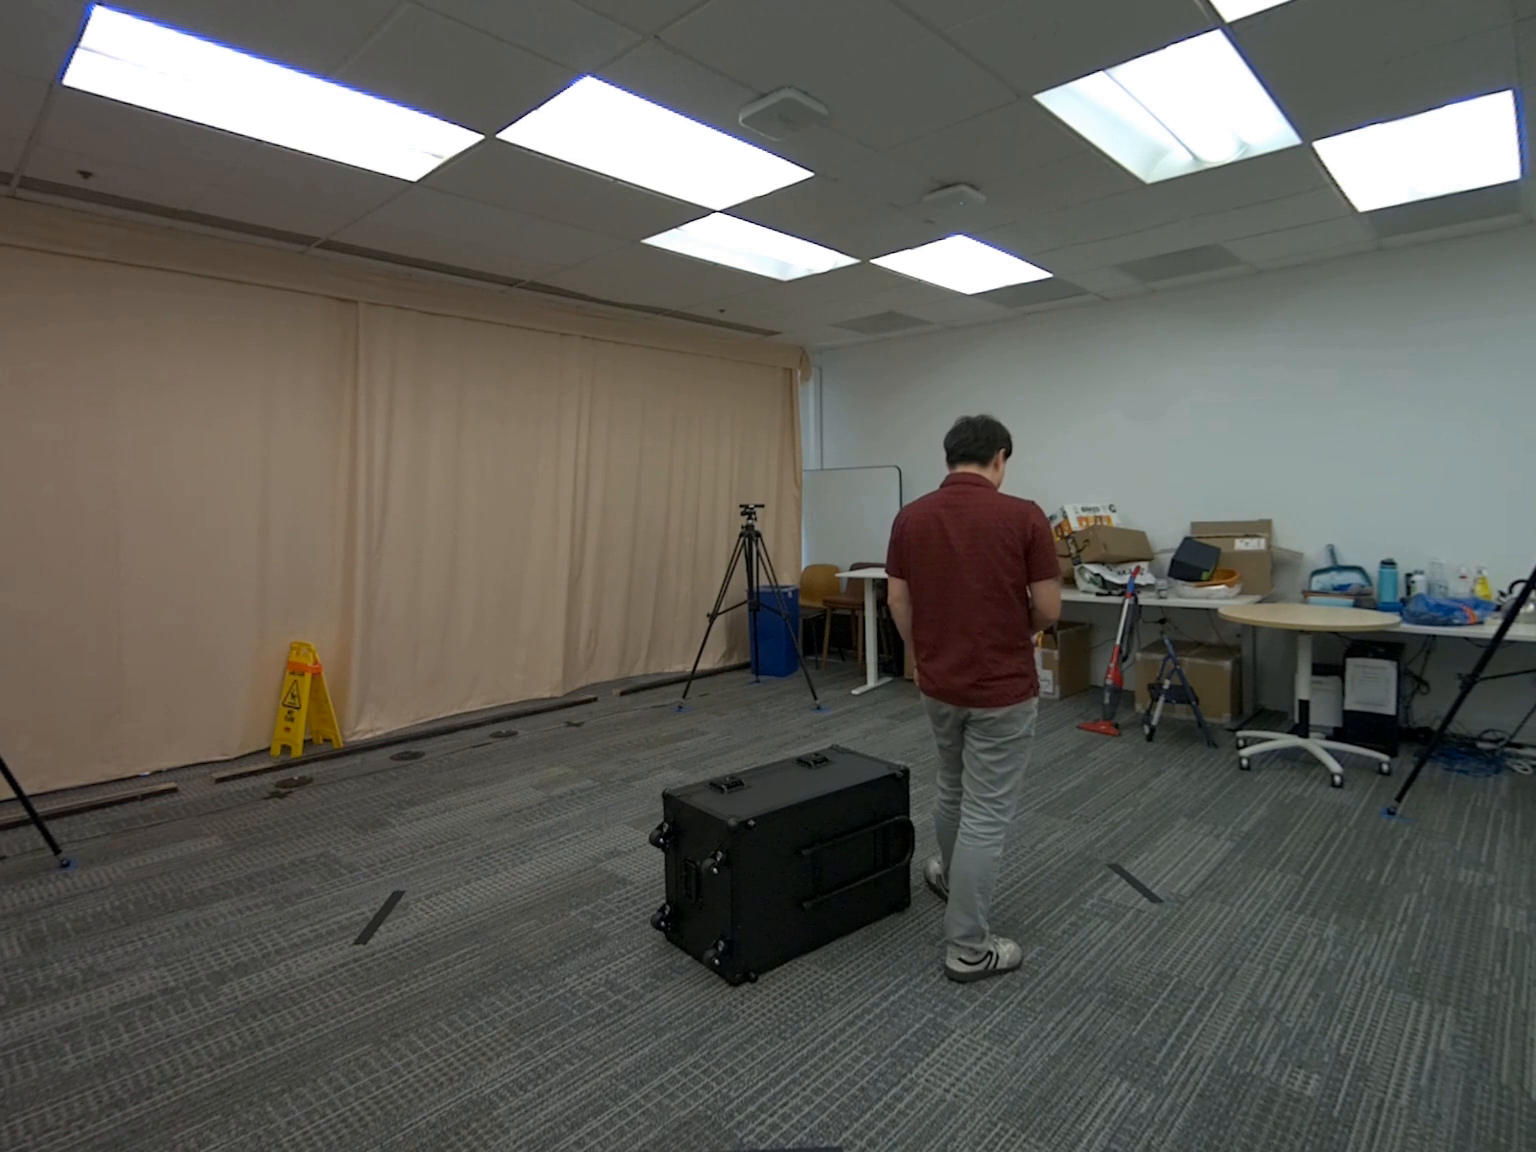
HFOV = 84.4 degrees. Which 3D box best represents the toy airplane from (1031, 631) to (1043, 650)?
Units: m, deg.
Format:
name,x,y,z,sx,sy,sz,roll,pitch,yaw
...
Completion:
name,x,y,z,sx,sy,sz,roll,pitch,yaw
toy airplane,0.809,0.199,2.845,0.256,0.156,0.255,12,7,-12
